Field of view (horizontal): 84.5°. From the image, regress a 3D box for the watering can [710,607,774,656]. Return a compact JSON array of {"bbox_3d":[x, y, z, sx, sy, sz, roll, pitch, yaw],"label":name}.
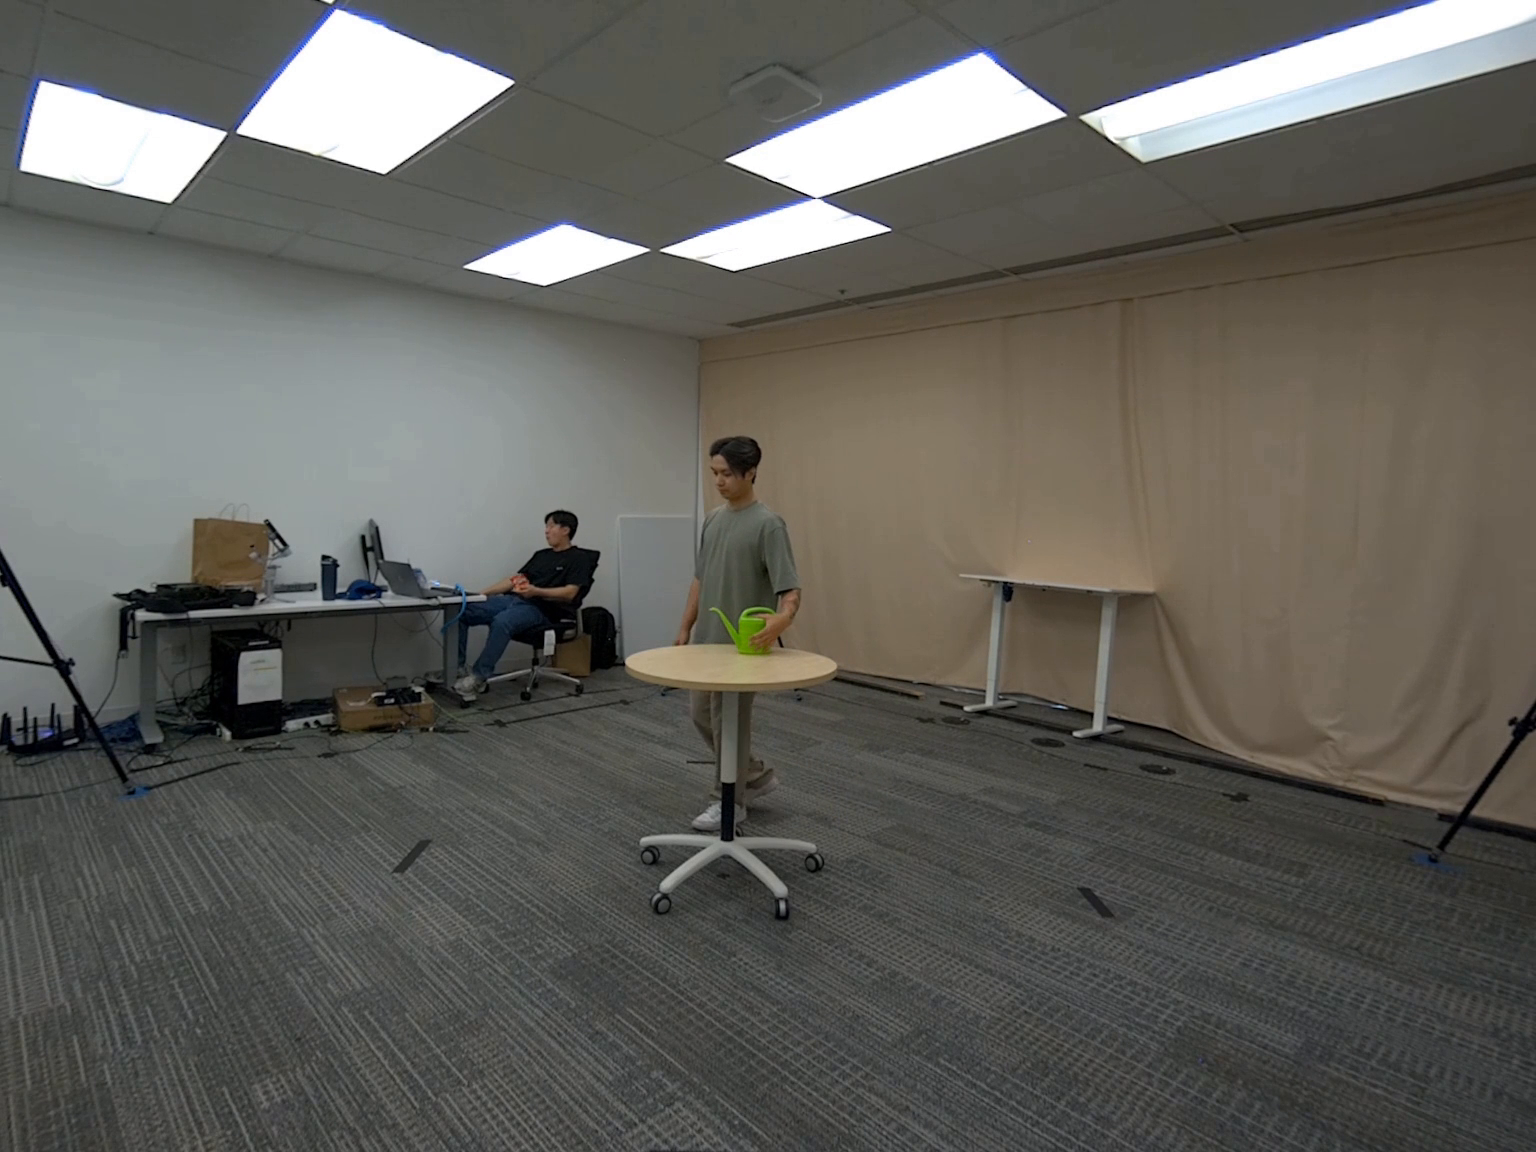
[{"bbox_3d":[-0.105,0.214,3.252,0.276,0.176,0.099,0,2,-8],"label":"watering can"}]
